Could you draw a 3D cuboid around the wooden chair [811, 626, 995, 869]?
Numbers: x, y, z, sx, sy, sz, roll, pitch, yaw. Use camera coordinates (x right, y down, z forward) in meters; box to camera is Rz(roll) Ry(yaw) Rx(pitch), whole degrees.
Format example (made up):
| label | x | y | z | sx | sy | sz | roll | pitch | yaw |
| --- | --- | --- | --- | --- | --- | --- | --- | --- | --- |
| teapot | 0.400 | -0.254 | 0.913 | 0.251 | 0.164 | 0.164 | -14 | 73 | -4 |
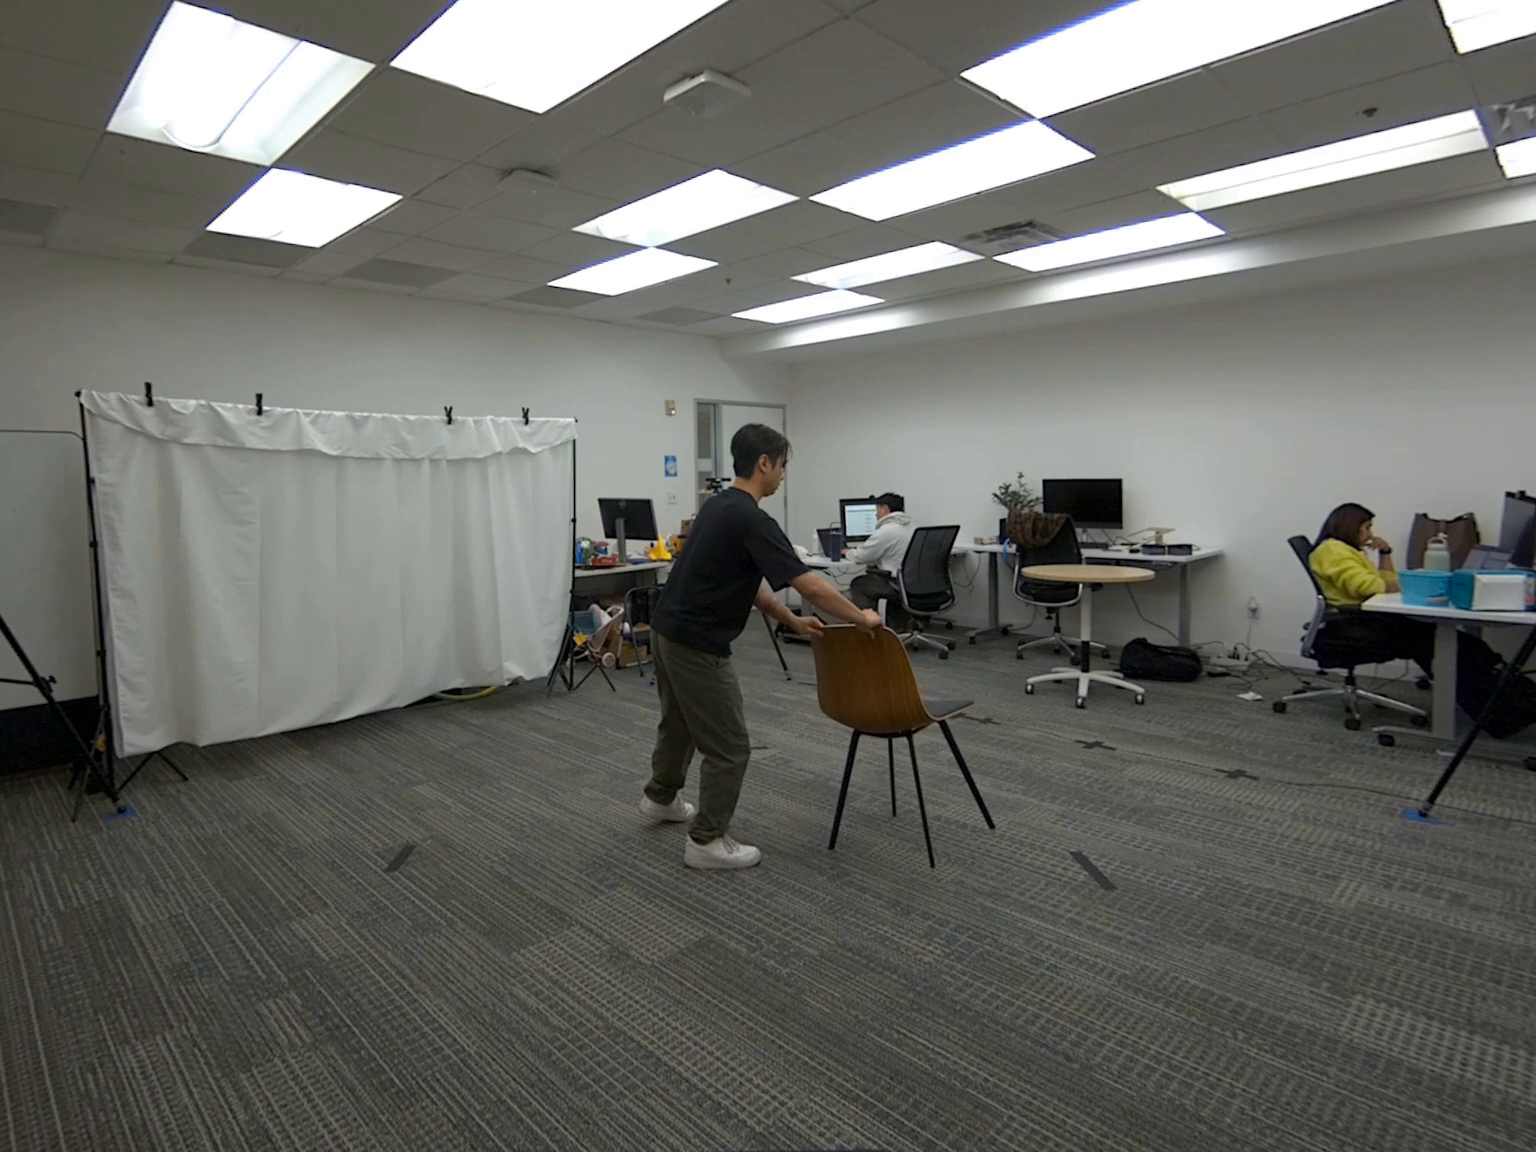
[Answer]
| label | x | y | z | sx | sy | sz | roll | pitch | yaw |
| --- | --- | --- | --- | --- | --- | --- | --- | --- | --- |
| wooden chair | 0.492 | 0.566 | 3.226 | 0.490 | 0.876 | 0.511 | -8 | 2 | 42 |
